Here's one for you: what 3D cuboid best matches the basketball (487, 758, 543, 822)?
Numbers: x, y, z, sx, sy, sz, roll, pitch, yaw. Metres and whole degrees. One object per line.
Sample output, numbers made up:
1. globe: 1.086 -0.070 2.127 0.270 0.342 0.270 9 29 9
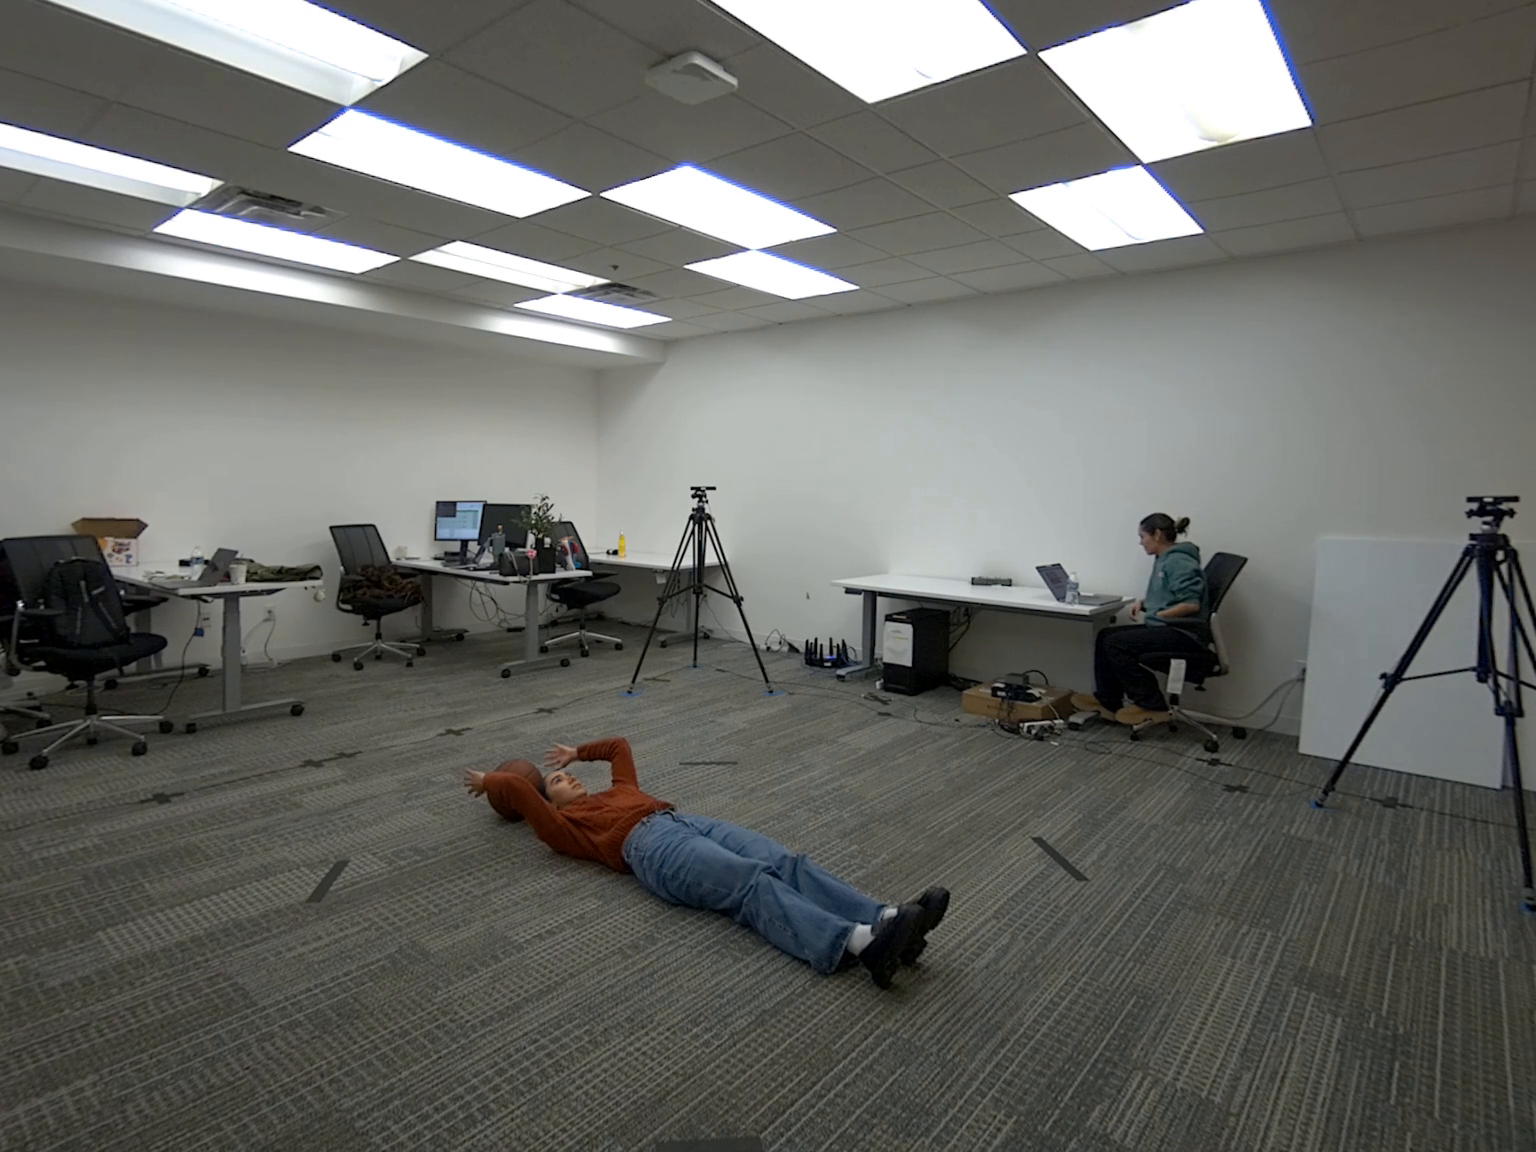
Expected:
1. basketball: -1.069 0.889 3.570 0.236 0.235 0.237 -3 3 -2
